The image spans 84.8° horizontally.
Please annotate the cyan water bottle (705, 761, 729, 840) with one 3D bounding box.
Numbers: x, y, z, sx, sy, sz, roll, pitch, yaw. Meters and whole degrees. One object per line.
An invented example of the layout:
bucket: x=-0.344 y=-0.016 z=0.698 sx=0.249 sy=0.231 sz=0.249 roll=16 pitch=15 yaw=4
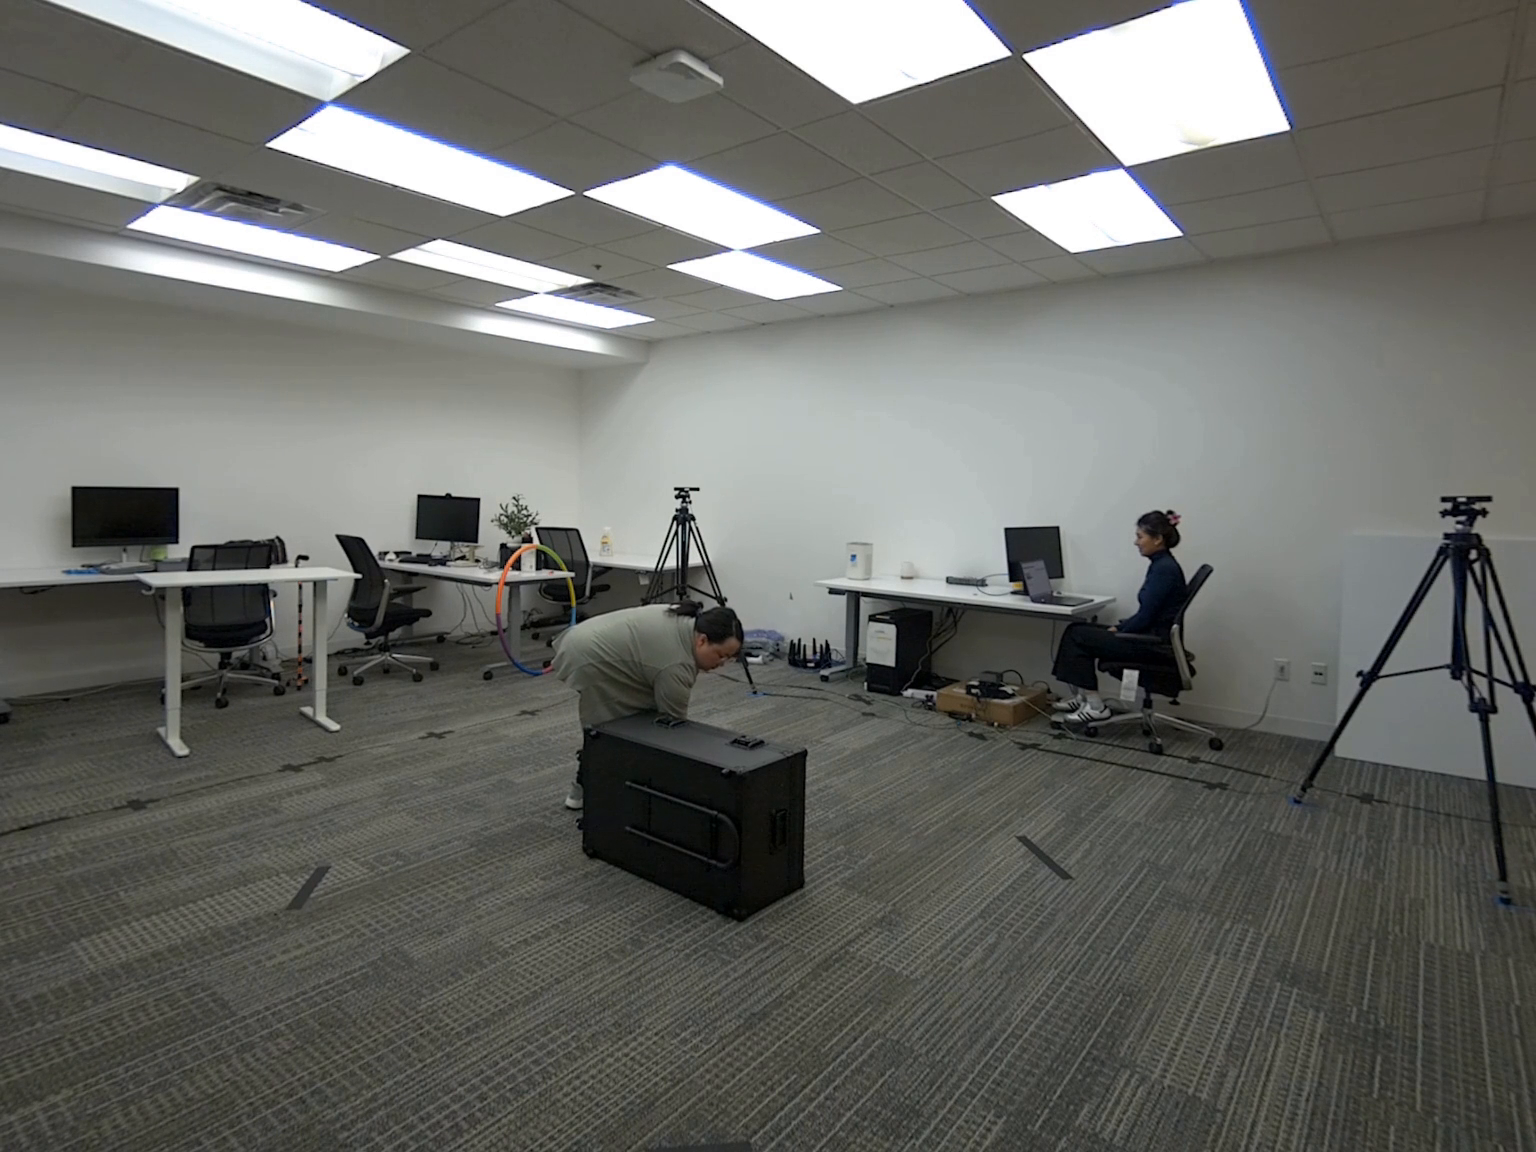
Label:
cyan water bottle: x=-0.206 y=0.898 z=3.380 sx=0.092 sy=0.283 sz=0.092 roll=0 pitch=1 yaw=-2
